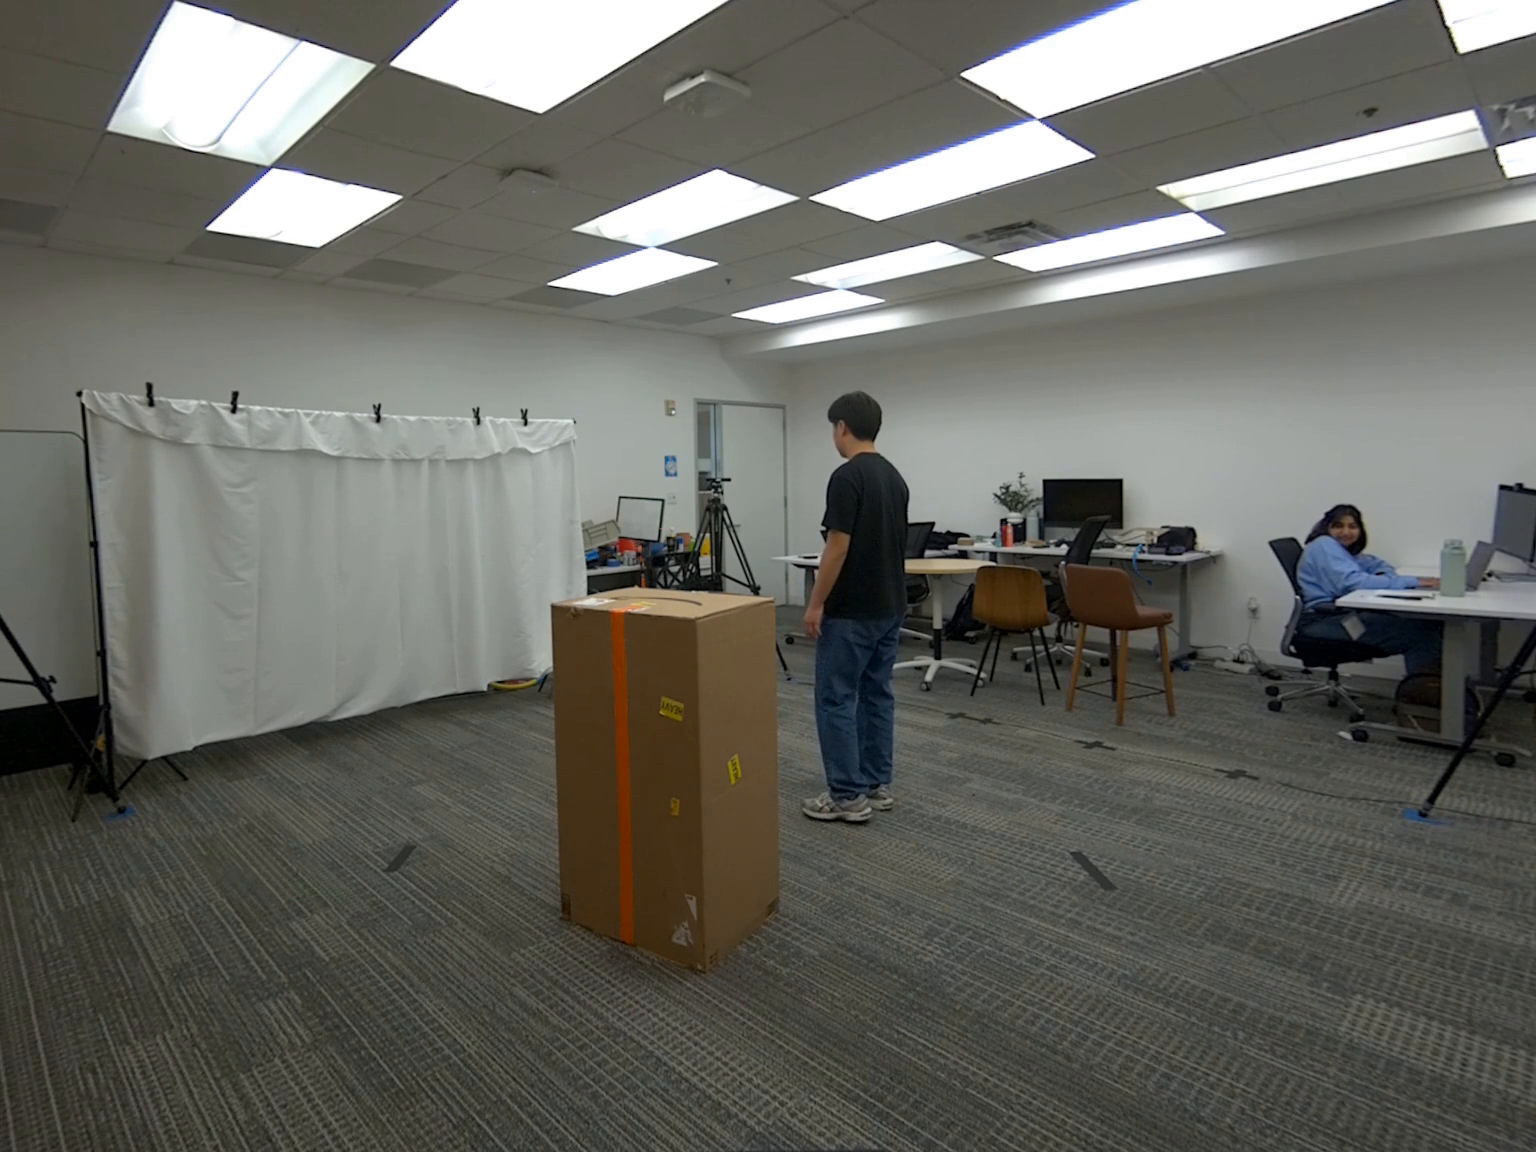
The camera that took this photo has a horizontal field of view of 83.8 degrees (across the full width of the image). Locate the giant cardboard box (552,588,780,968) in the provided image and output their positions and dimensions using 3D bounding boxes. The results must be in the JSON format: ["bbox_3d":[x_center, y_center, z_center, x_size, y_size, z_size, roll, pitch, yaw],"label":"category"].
[{"bbox_3d":[-0.322,0.581,2.713,0.601,1.022,0.436,2,6,35],"label":"giant cardboard box"}]
